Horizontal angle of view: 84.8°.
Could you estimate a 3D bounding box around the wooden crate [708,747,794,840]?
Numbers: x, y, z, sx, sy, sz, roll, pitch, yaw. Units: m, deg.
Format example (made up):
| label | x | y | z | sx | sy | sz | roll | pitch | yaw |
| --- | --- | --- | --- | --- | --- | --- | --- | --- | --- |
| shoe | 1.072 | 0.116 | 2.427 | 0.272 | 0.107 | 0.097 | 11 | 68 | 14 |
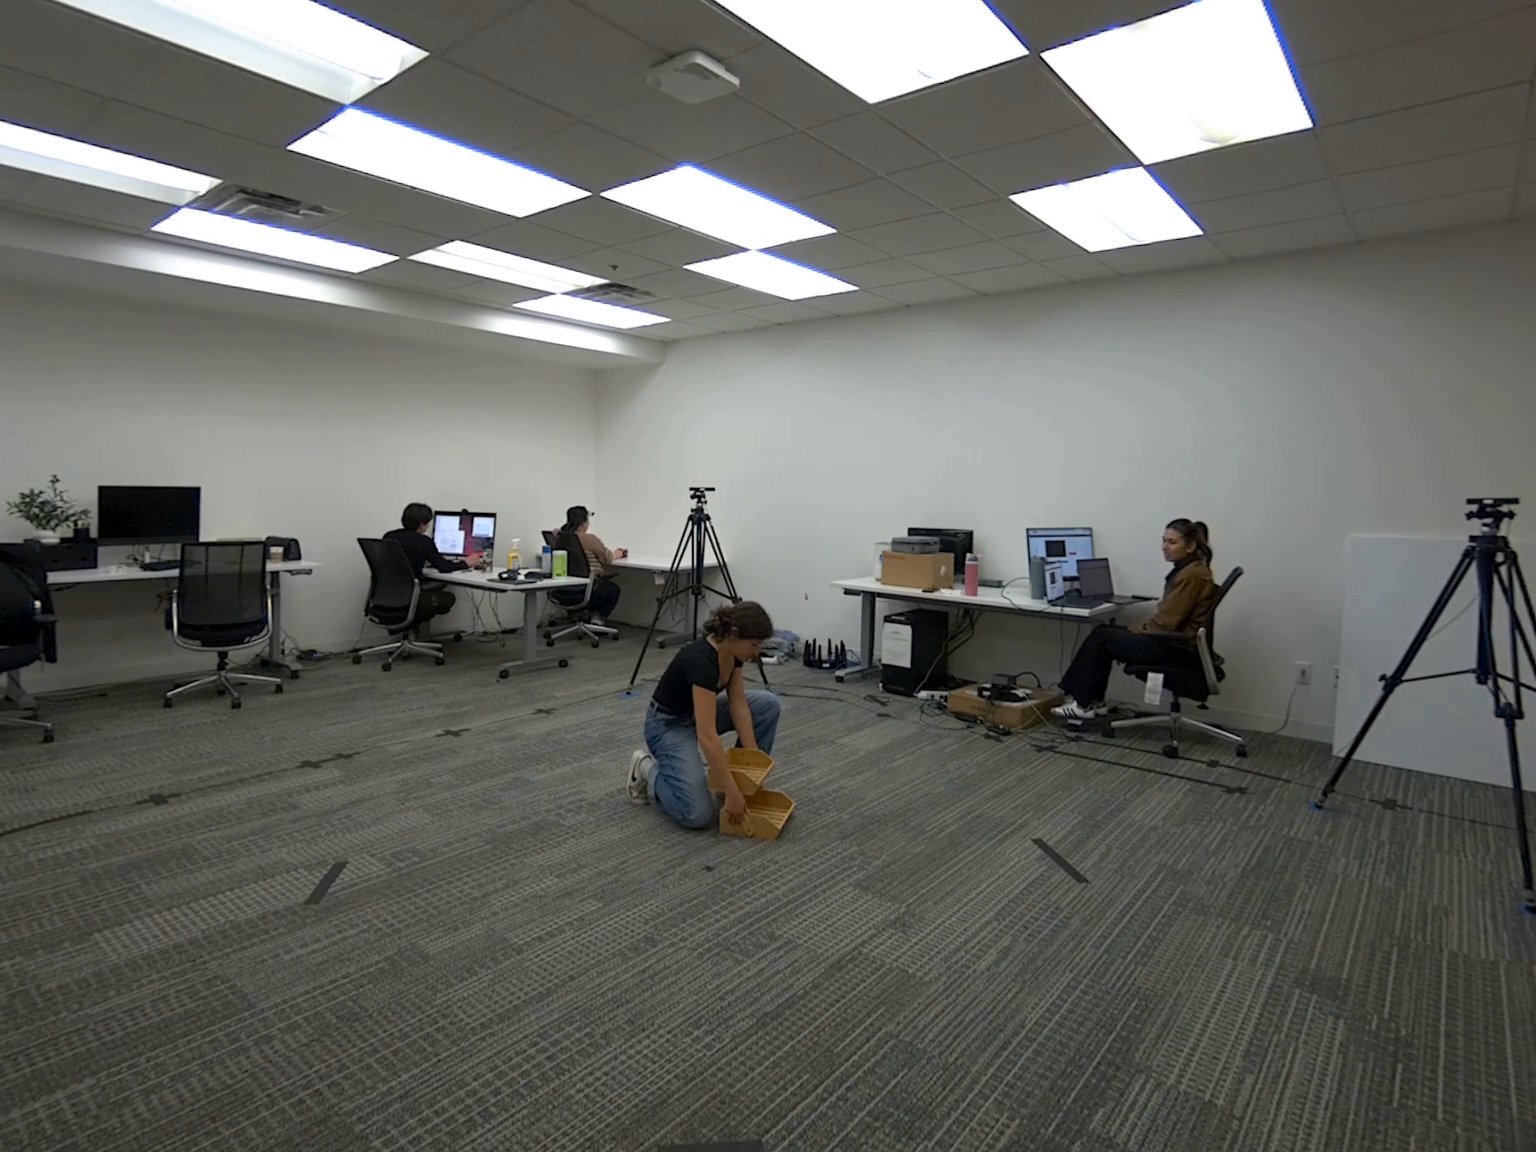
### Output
| label | x | y | z | sx | sy | sz | roll | pitch | yaw |
| --- | --- | --- | --- | --- | --- | --- | --- | --- | --- |
| wooden crate | -0.069 | 0.892 | 3.550 | 0.307 | 0.272 | 0.320 | 2 | 4 | 15 |
